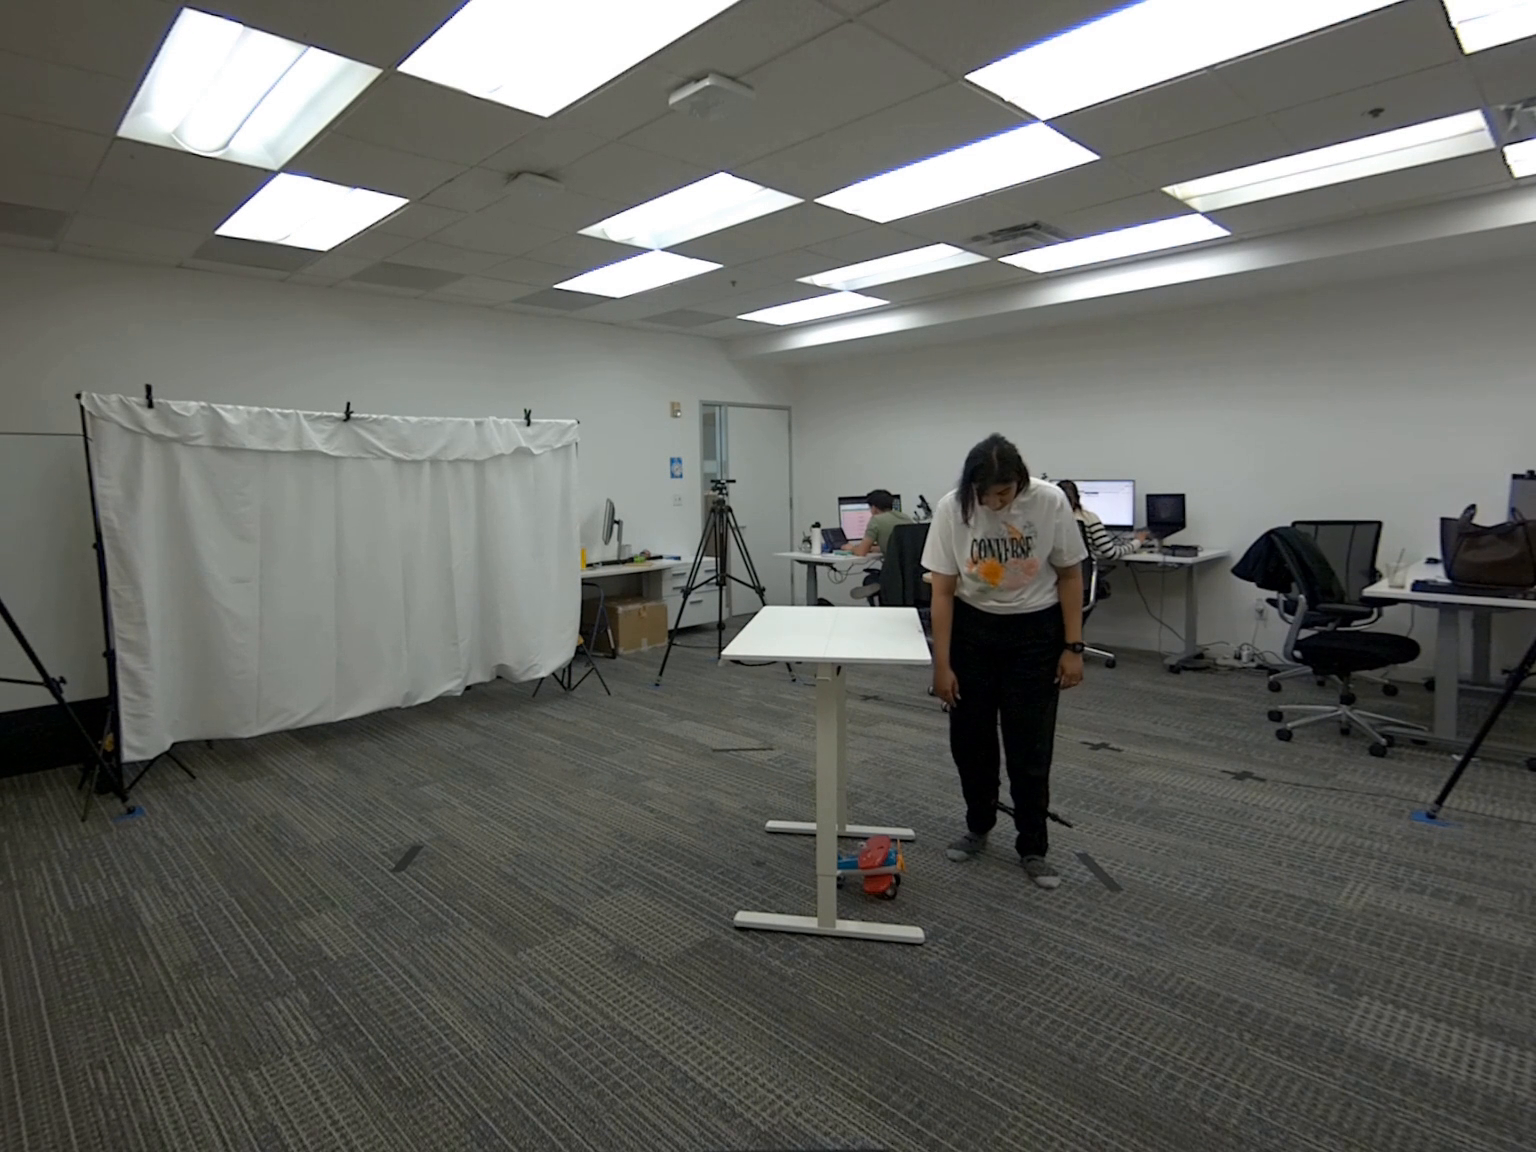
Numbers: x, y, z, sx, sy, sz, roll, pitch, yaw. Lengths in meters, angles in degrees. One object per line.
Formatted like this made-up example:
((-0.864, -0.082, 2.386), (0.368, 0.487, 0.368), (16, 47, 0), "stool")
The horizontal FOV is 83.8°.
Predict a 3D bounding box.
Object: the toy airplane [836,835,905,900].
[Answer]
((0.337, 0.993, 2.878), (0.257, 0.156, 0.254), (-1, 5, -10), "toy airplane")
